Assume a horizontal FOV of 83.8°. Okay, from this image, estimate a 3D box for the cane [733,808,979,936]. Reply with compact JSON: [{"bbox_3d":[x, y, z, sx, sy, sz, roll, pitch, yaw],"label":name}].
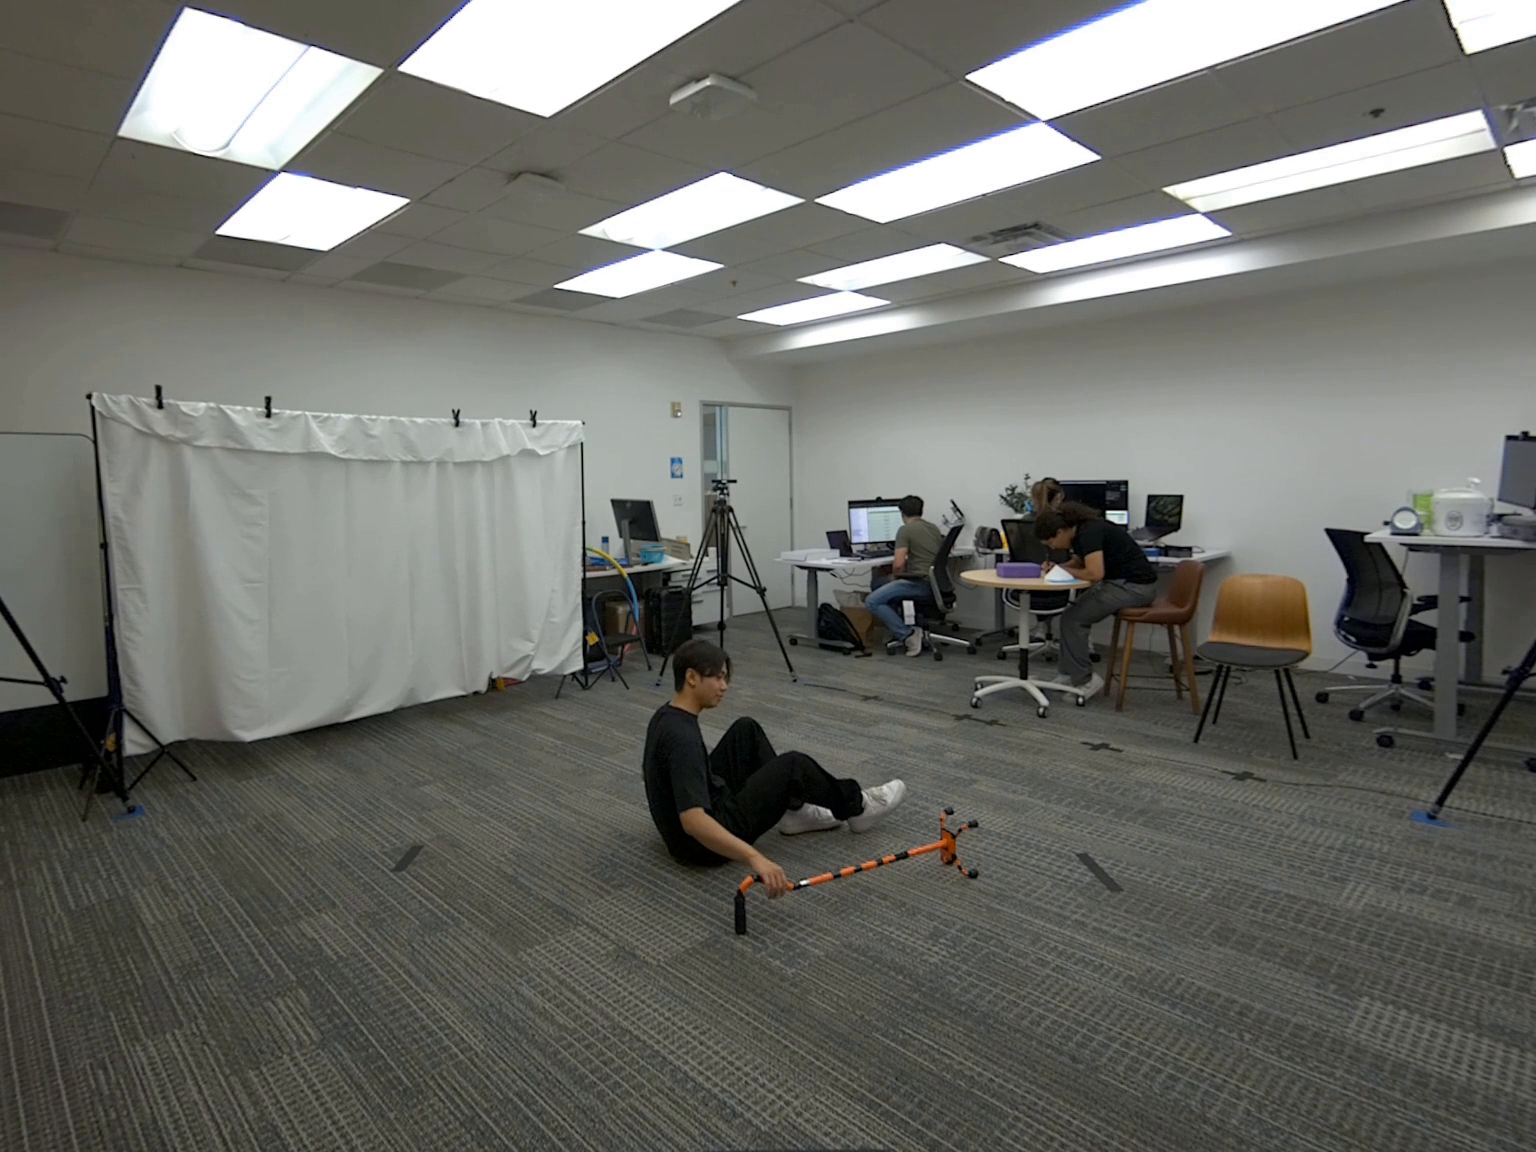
[{"bbox_3d":[0.297,0.957,2.827,0.889,0.205,0.155,-4,7,-26],"label":"cane"}]
